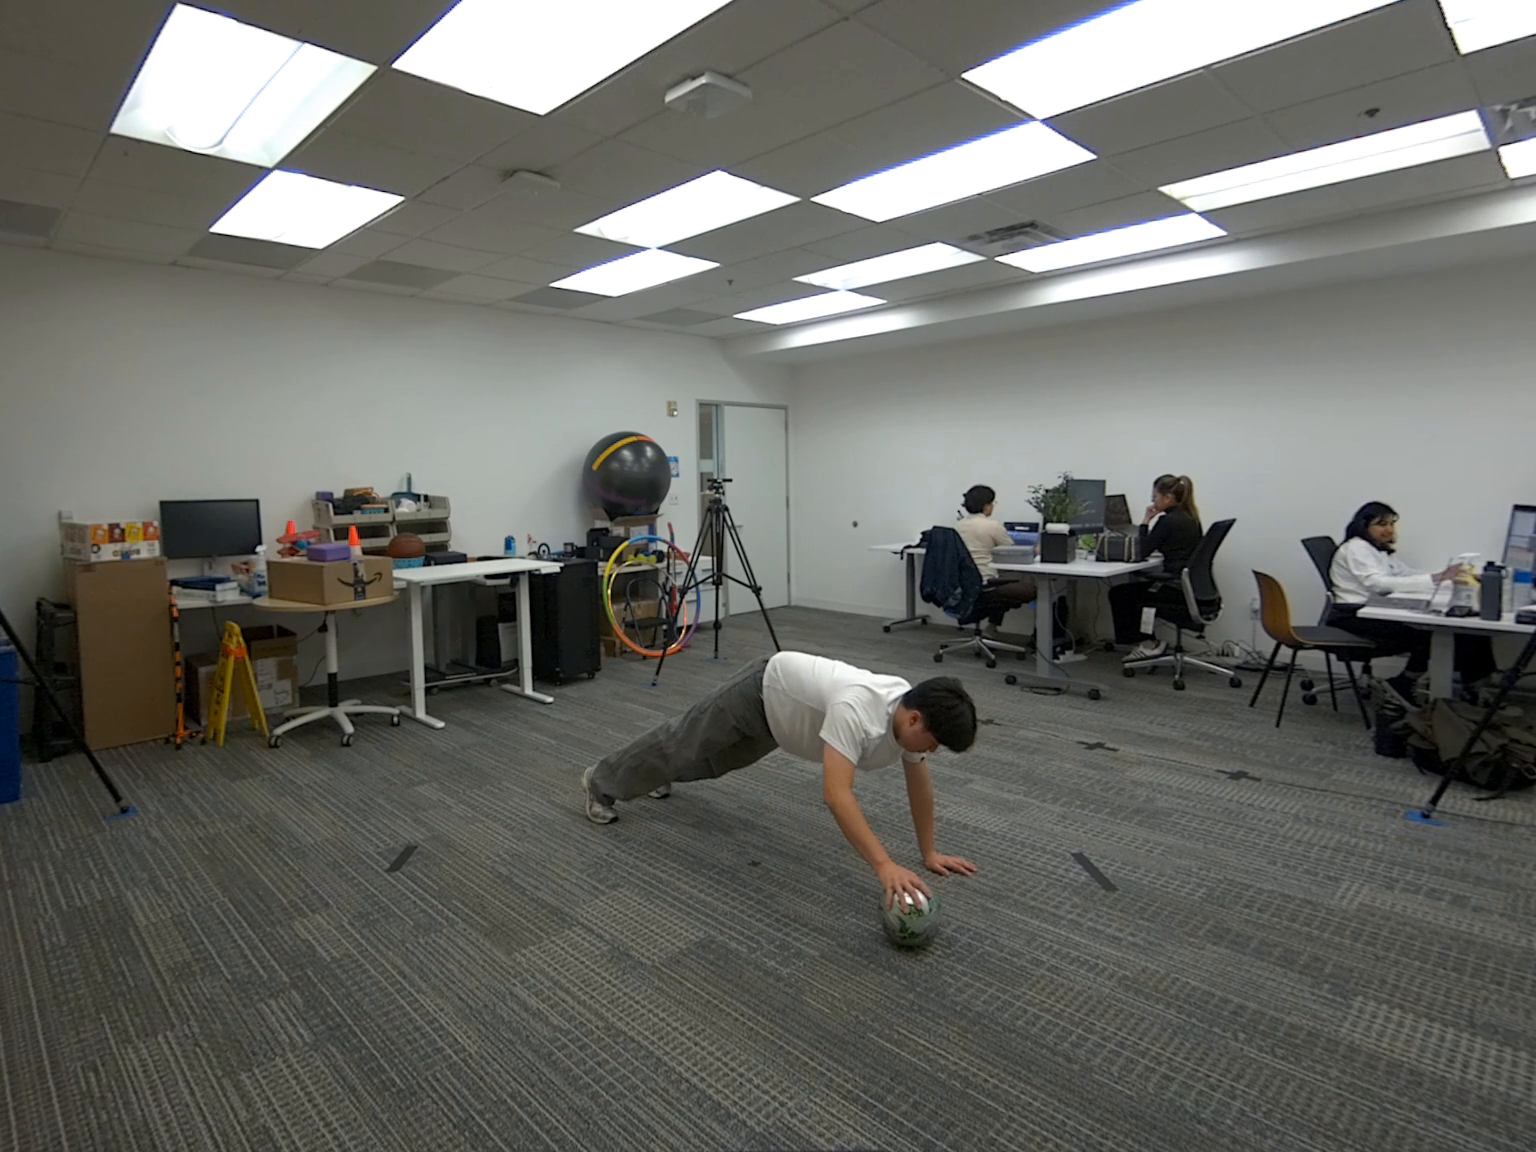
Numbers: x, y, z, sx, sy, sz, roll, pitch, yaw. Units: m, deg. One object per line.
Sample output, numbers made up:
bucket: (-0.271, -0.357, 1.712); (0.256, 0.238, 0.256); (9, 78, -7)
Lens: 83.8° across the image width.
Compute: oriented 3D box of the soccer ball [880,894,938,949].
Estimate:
soccer ball: (0.438, 1.012, 2.569); (0.187, 0.187, 0.188); (-1, 5, -2)
